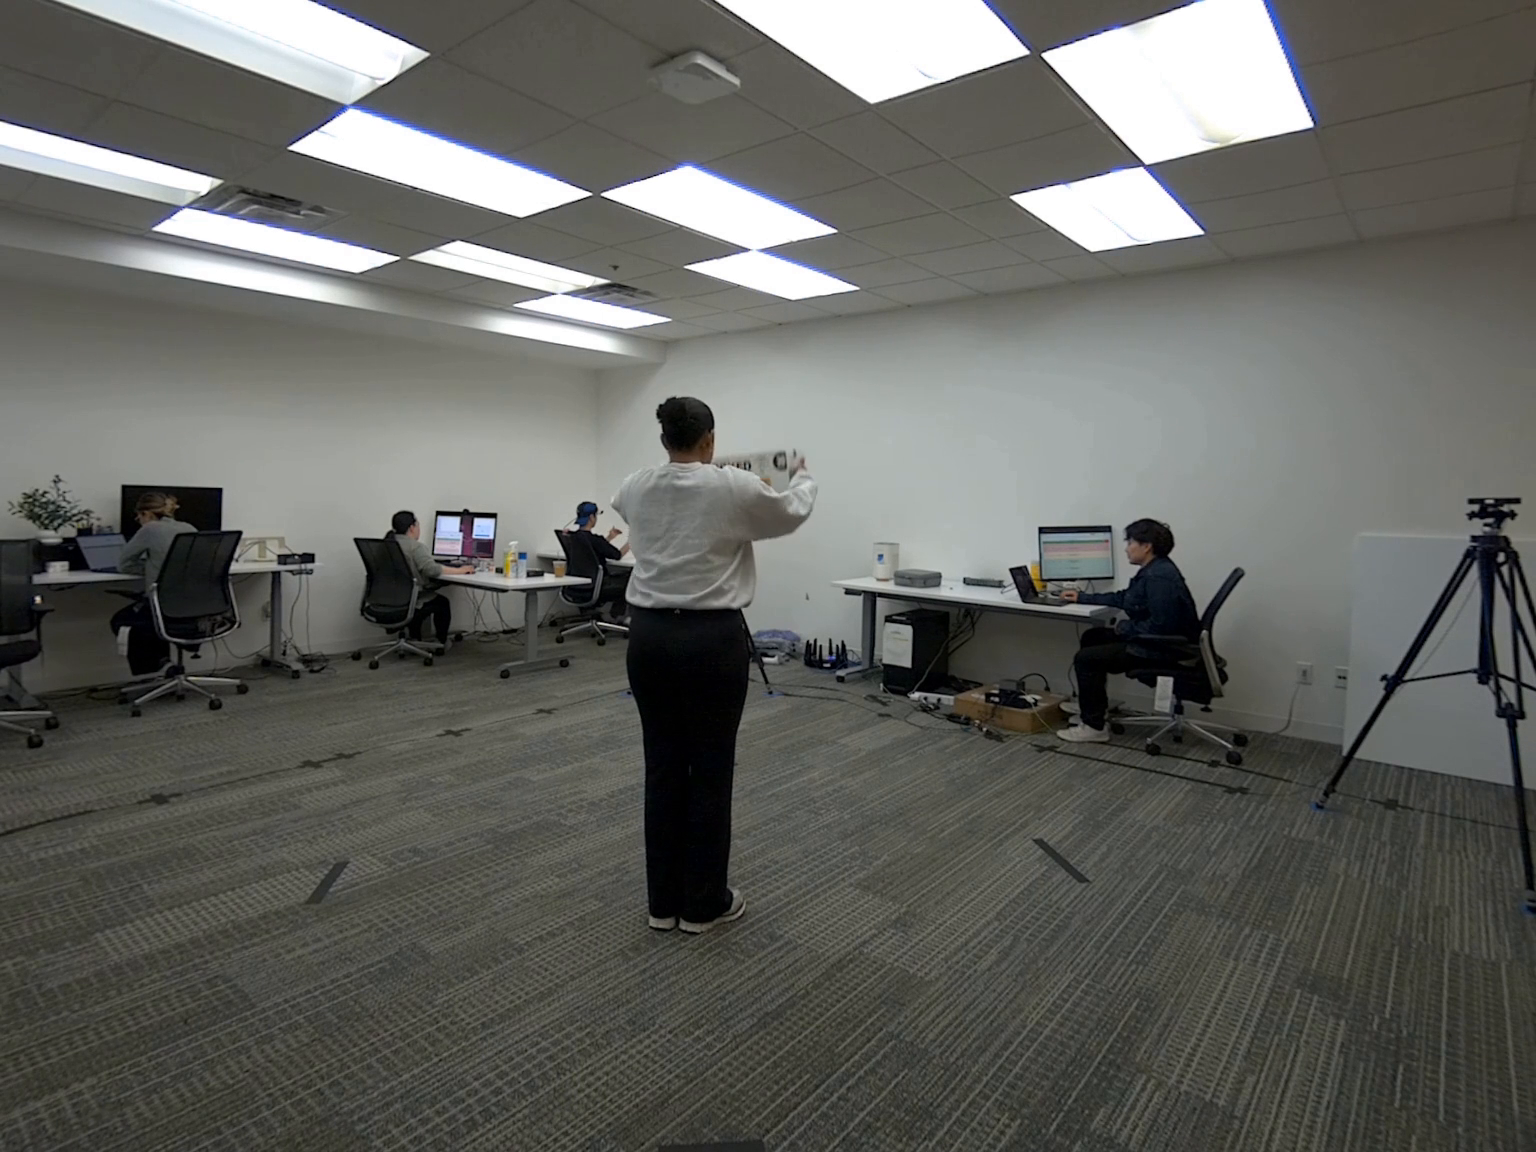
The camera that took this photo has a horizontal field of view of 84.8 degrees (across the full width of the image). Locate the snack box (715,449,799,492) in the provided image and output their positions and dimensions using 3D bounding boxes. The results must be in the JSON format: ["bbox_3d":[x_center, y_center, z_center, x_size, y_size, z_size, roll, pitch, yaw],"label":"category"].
[{"bbox_3d":[-0.092,-0.341,3.196,0.411,0.205,0.336,-4,5,15],"label":"snack box"}]
